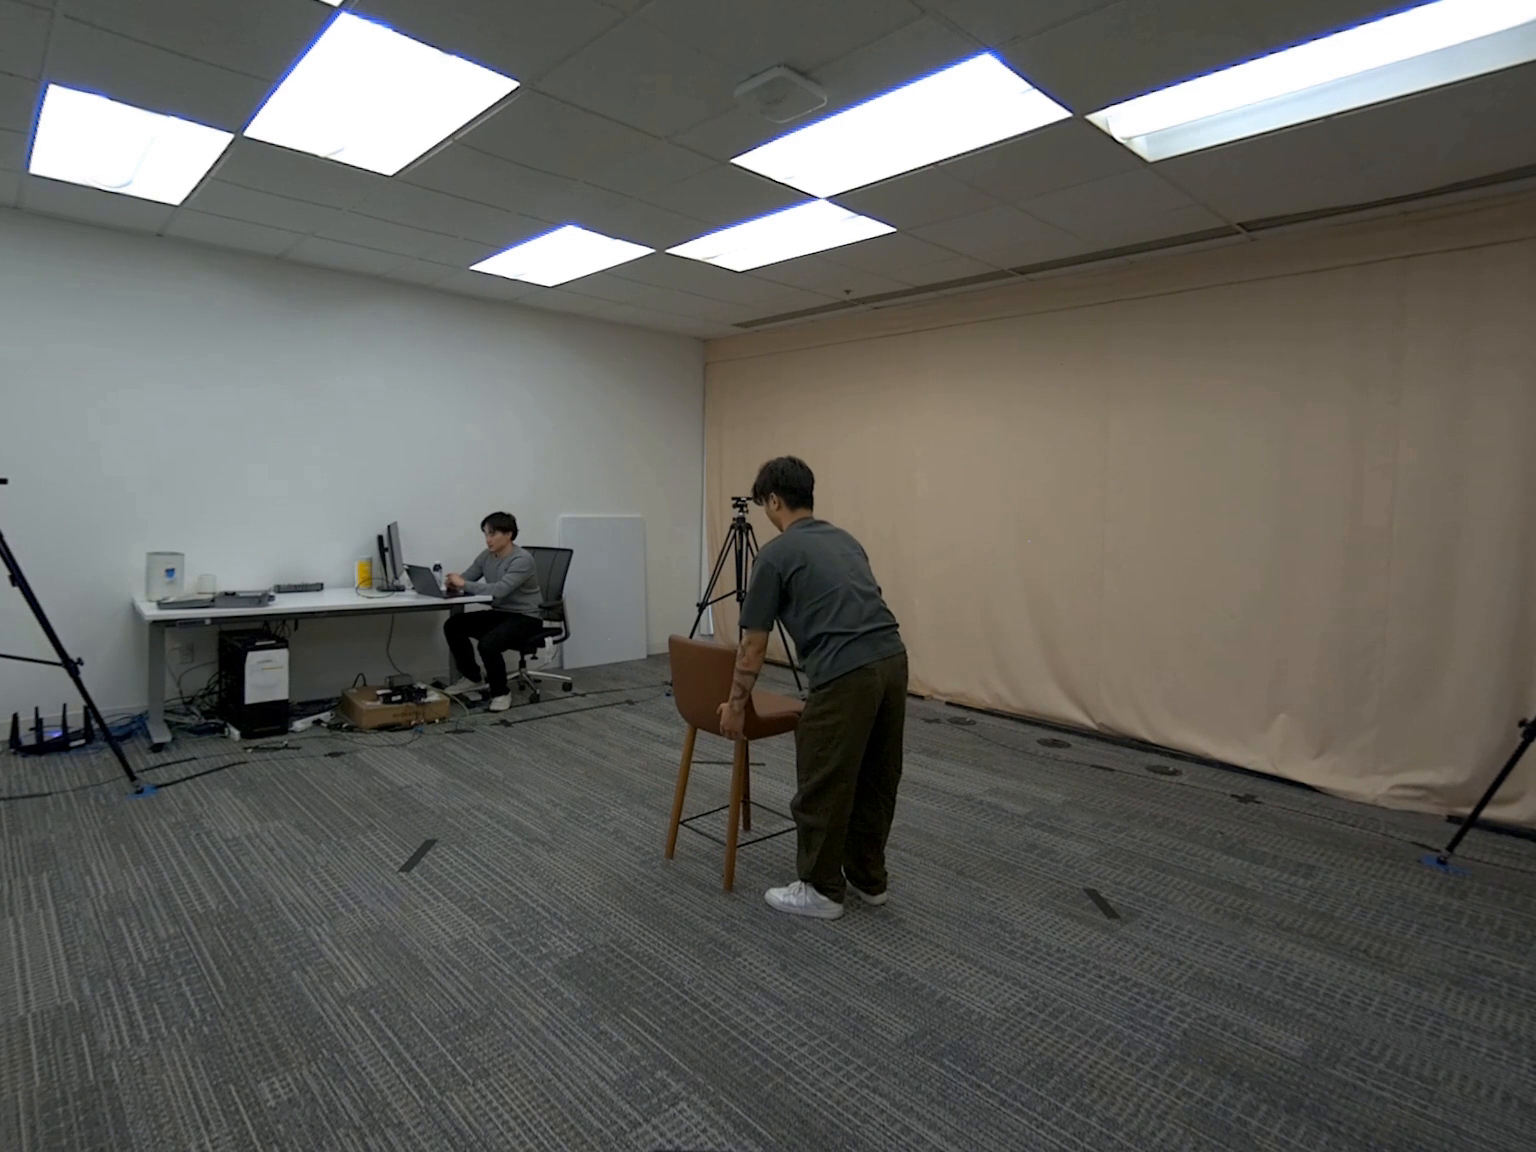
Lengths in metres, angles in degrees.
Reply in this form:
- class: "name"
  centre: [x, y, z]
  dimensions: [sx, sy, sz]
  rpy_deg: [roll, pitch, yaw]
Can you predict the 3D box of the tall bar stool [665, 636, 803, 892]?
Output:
- class: "tall bar stool"
  centre: [-0.108, 0.659, 3.227]
  dimensions: [0.457, 0.887, 0.468]
  rpy_deg: [-4, 6, -42]
